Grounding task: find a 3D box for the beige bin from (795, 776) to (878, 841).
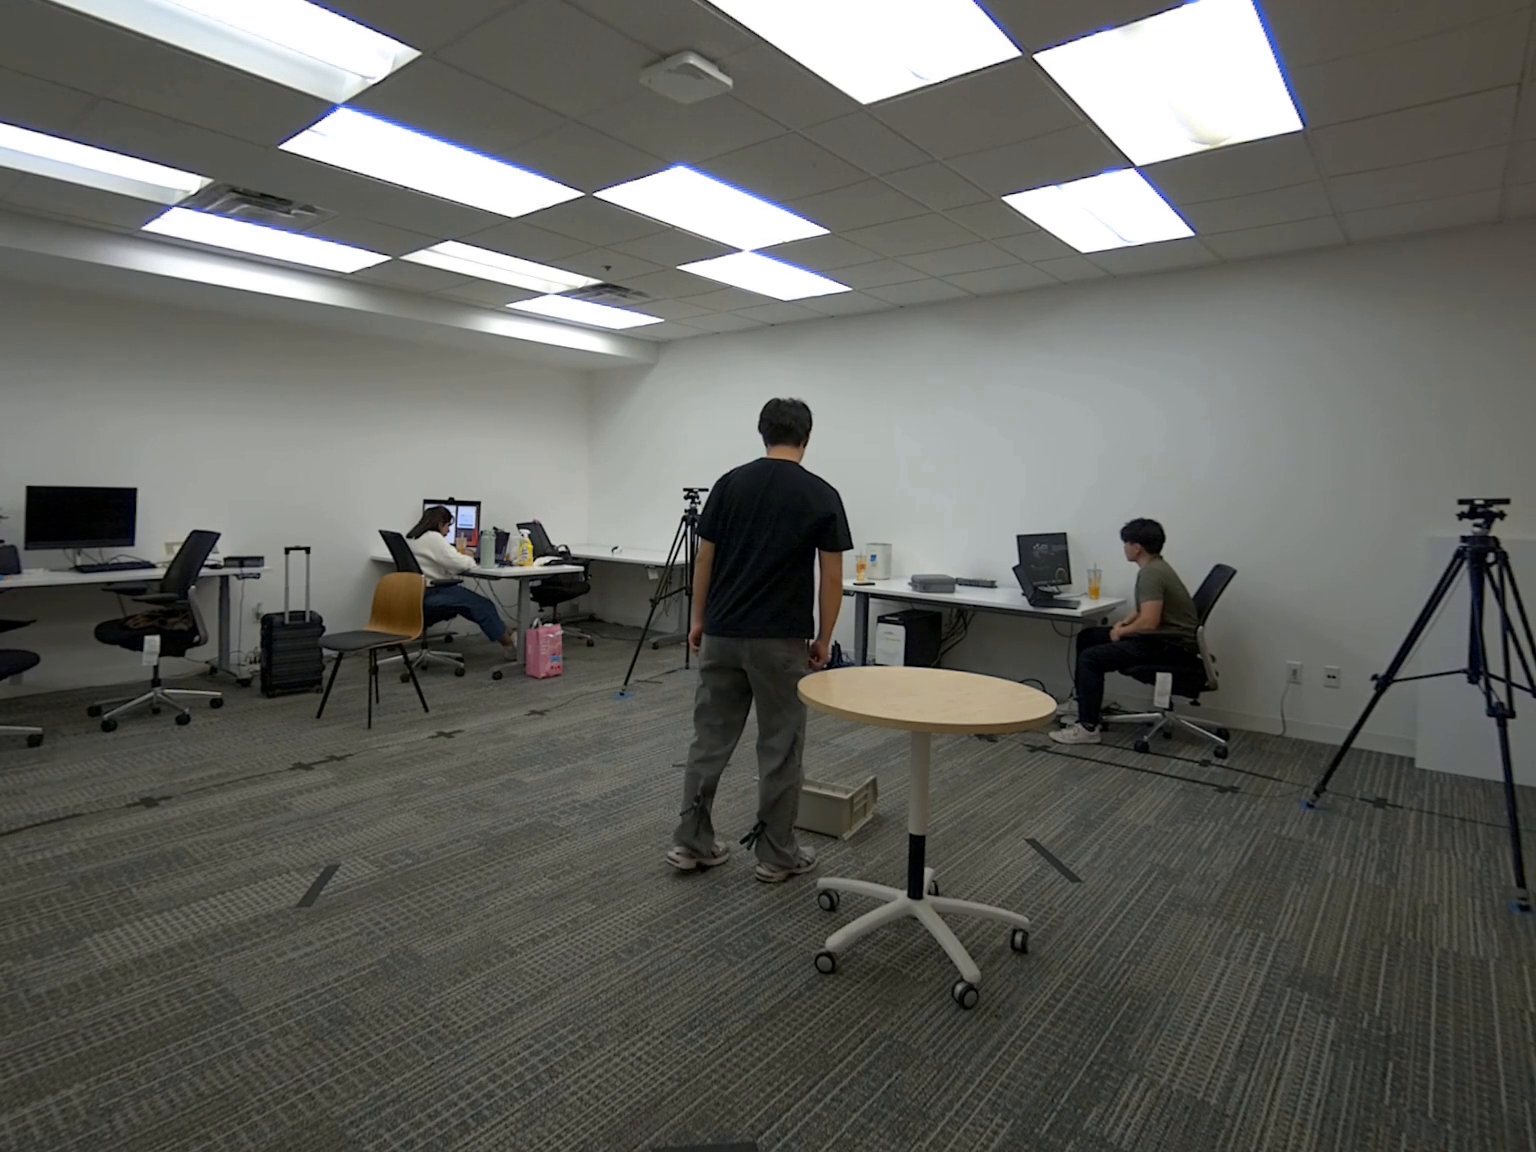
[{"bbox_3d":[0.201,0.935,3.637,0.435,0.188,0.368,4,7,29],"label":"beige bin"}]
